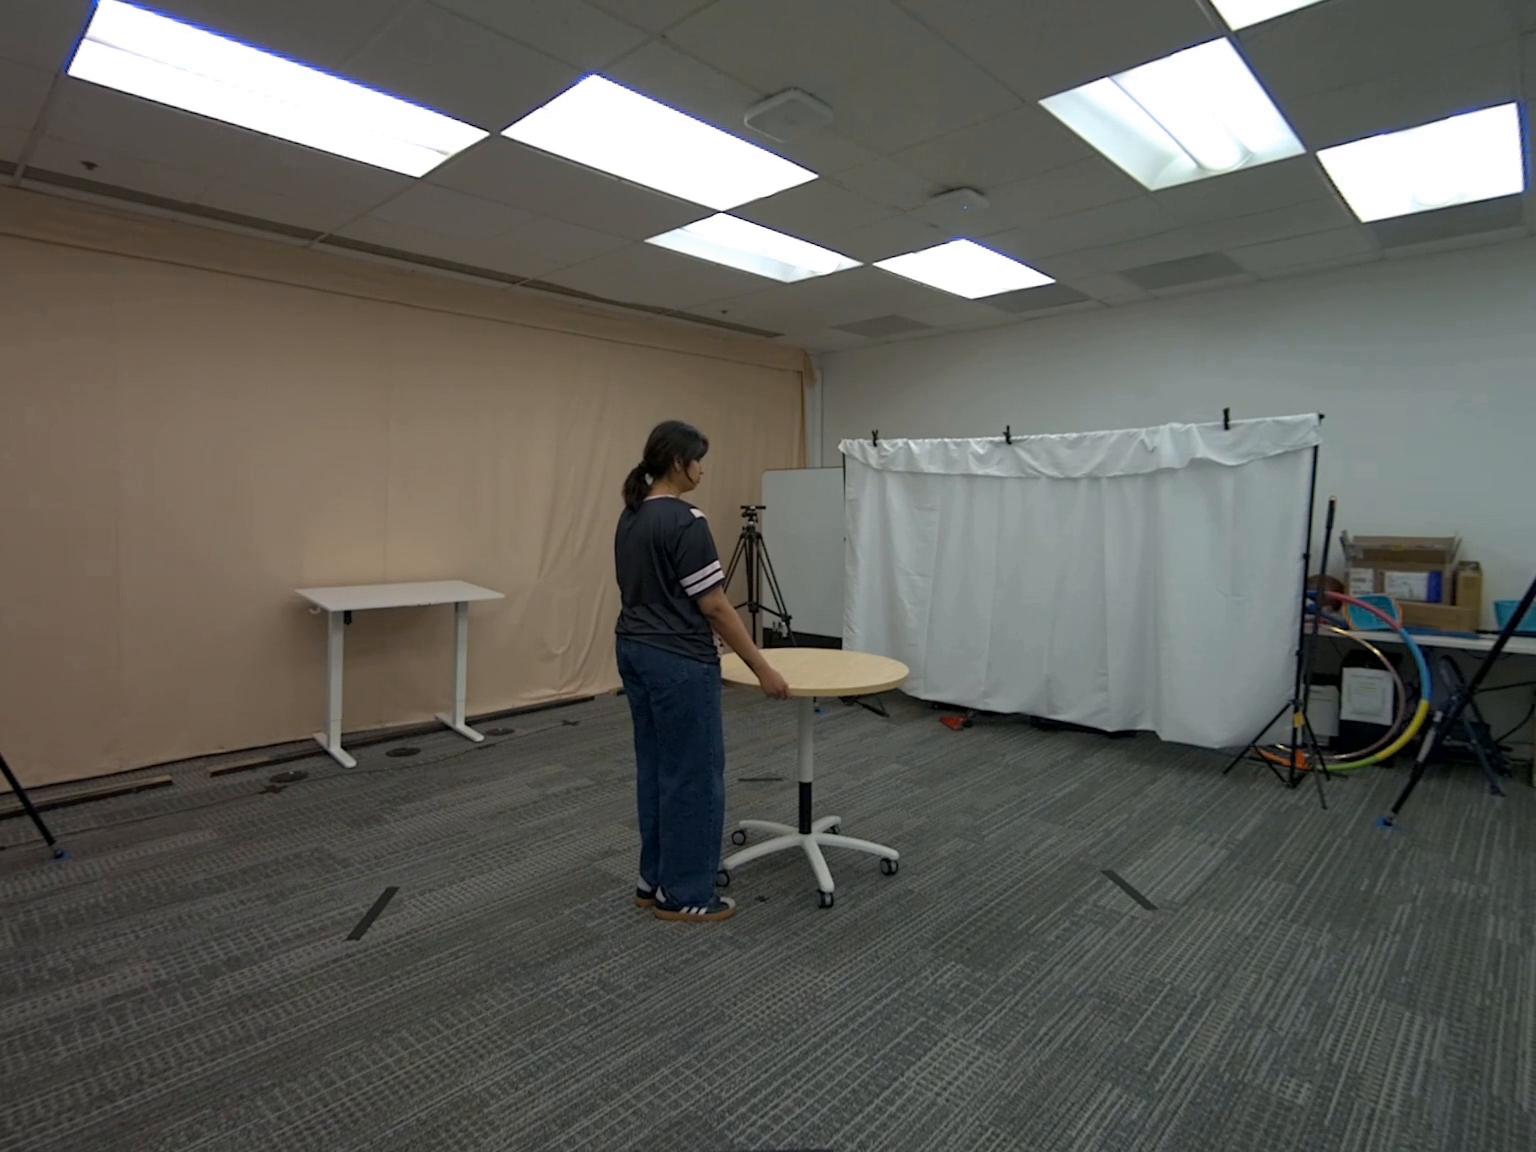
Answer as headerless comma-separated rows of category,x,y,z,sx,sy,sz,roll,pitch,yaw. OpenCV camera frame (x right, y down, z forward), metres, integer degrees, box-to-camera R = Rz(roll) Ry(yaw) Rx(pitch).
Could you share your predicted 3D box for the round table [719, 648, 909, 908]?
round table,0.134,0.729,3.210,0.784,0.785,0.788,0,4,-2
